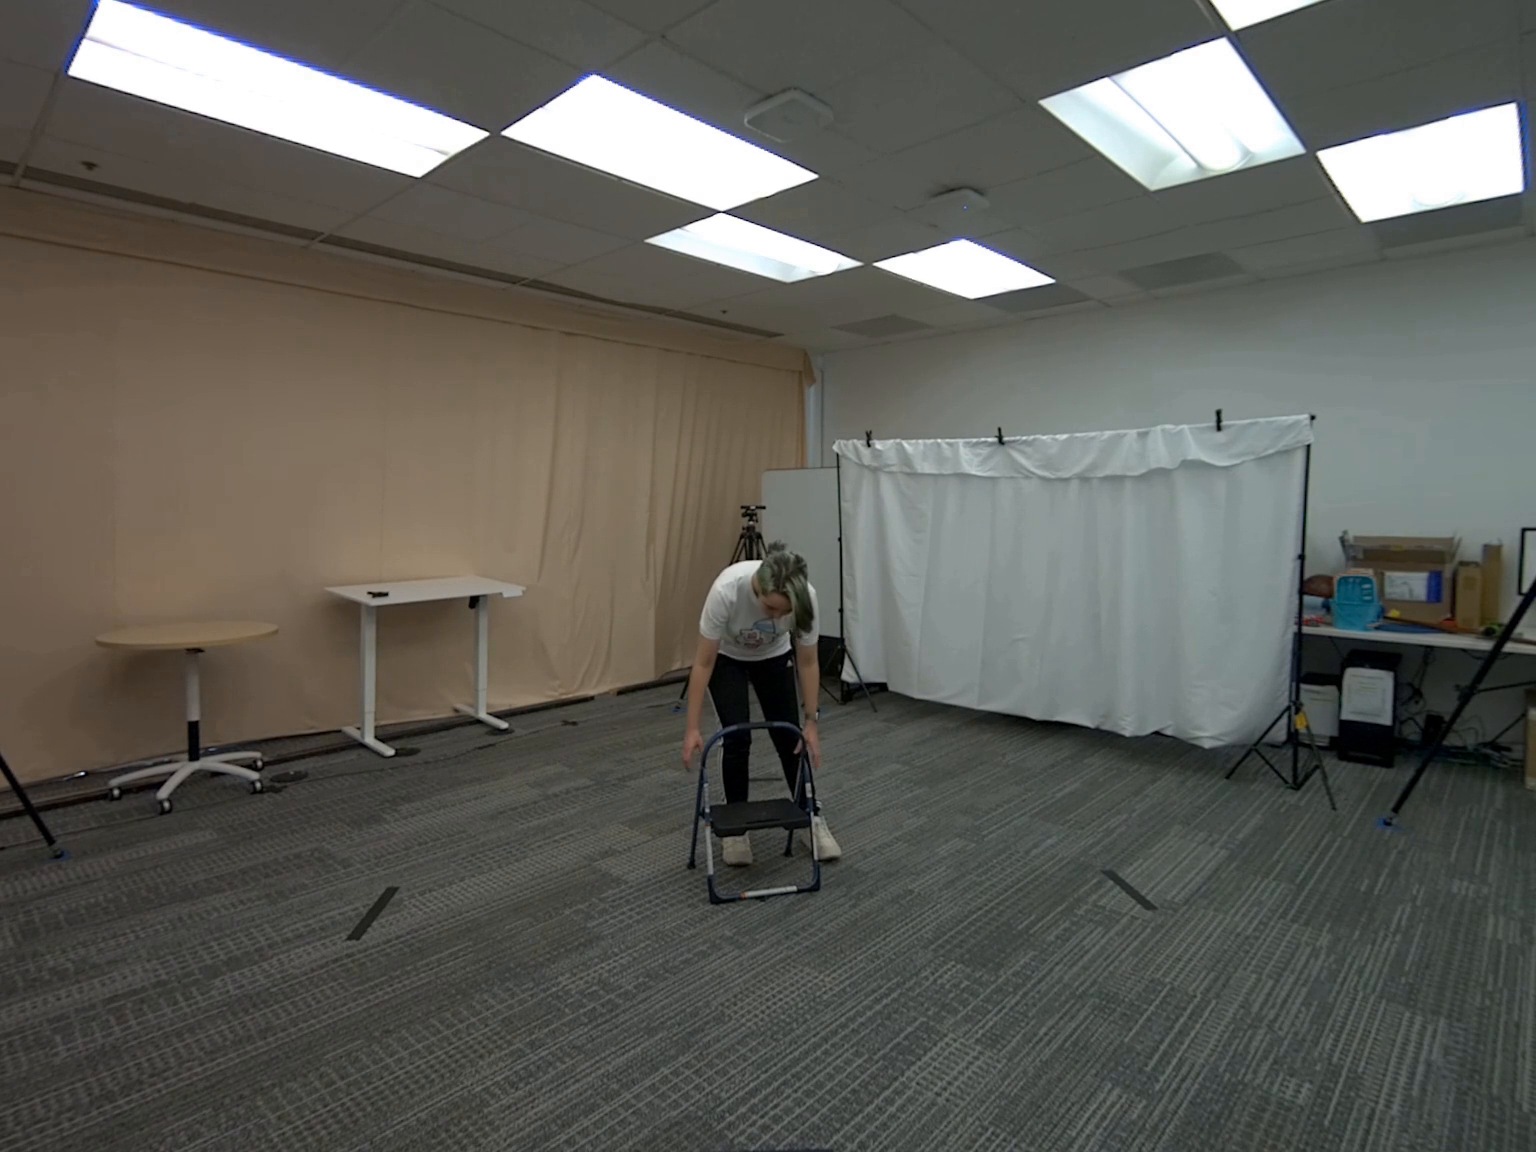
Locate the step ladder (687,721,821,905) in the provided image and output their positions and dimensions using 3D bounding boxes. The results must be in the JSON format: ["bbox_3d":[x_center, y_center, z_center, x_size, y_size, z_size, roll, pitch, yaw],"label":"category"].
[{"bbox_3d":[-0.061,0.832,3.132,0.424,0.605,0.356,-2,4,-16],"label":"step ladder"}]
